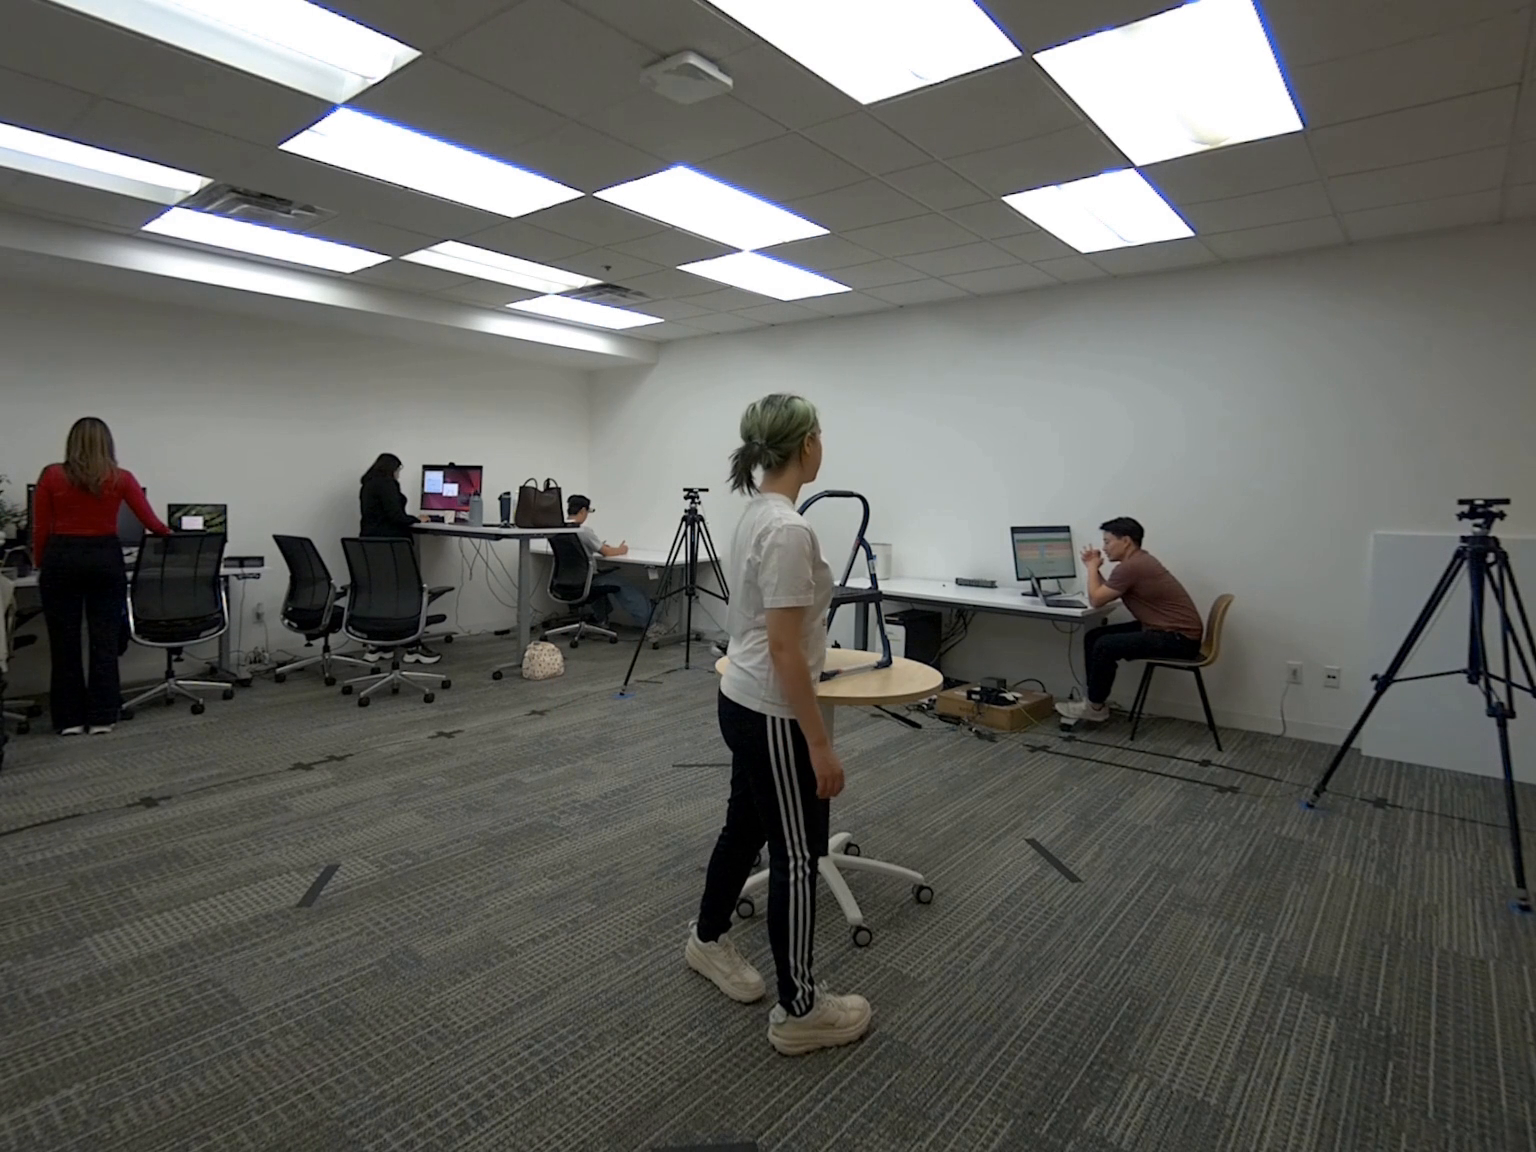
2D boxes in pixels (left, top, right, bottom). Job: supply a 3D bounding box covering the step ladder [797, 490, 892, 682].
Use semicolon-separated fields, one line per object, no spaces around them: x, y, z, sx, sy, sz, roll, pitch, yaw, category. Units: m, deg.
0.179;0.008;2.939;0.361;0.604;0.417;5;6;44;step ladder
